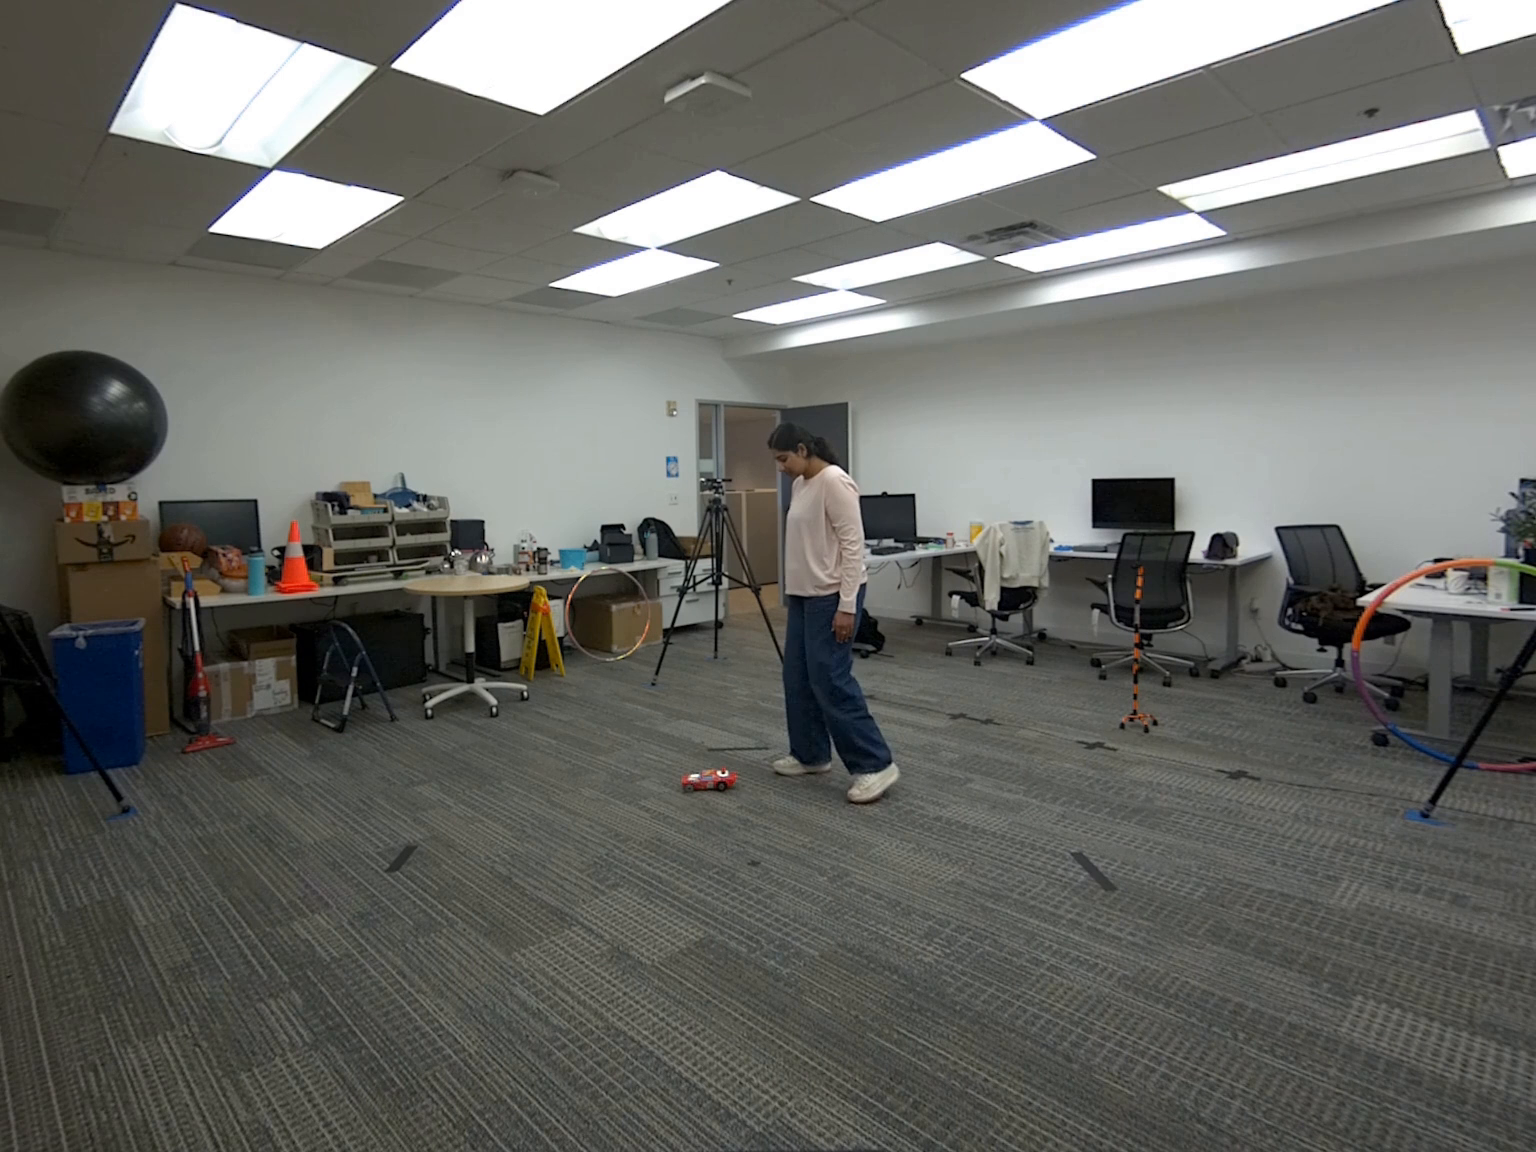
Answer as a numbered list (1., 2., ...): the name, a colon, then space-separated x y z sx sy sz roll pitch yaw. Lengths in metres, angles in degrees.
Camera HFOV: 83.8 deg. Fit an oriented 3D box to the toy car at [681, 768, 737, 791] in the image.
1. toy car: -0.265 0.930 3.885 0.255 0.083 0.131 -12 7 1
